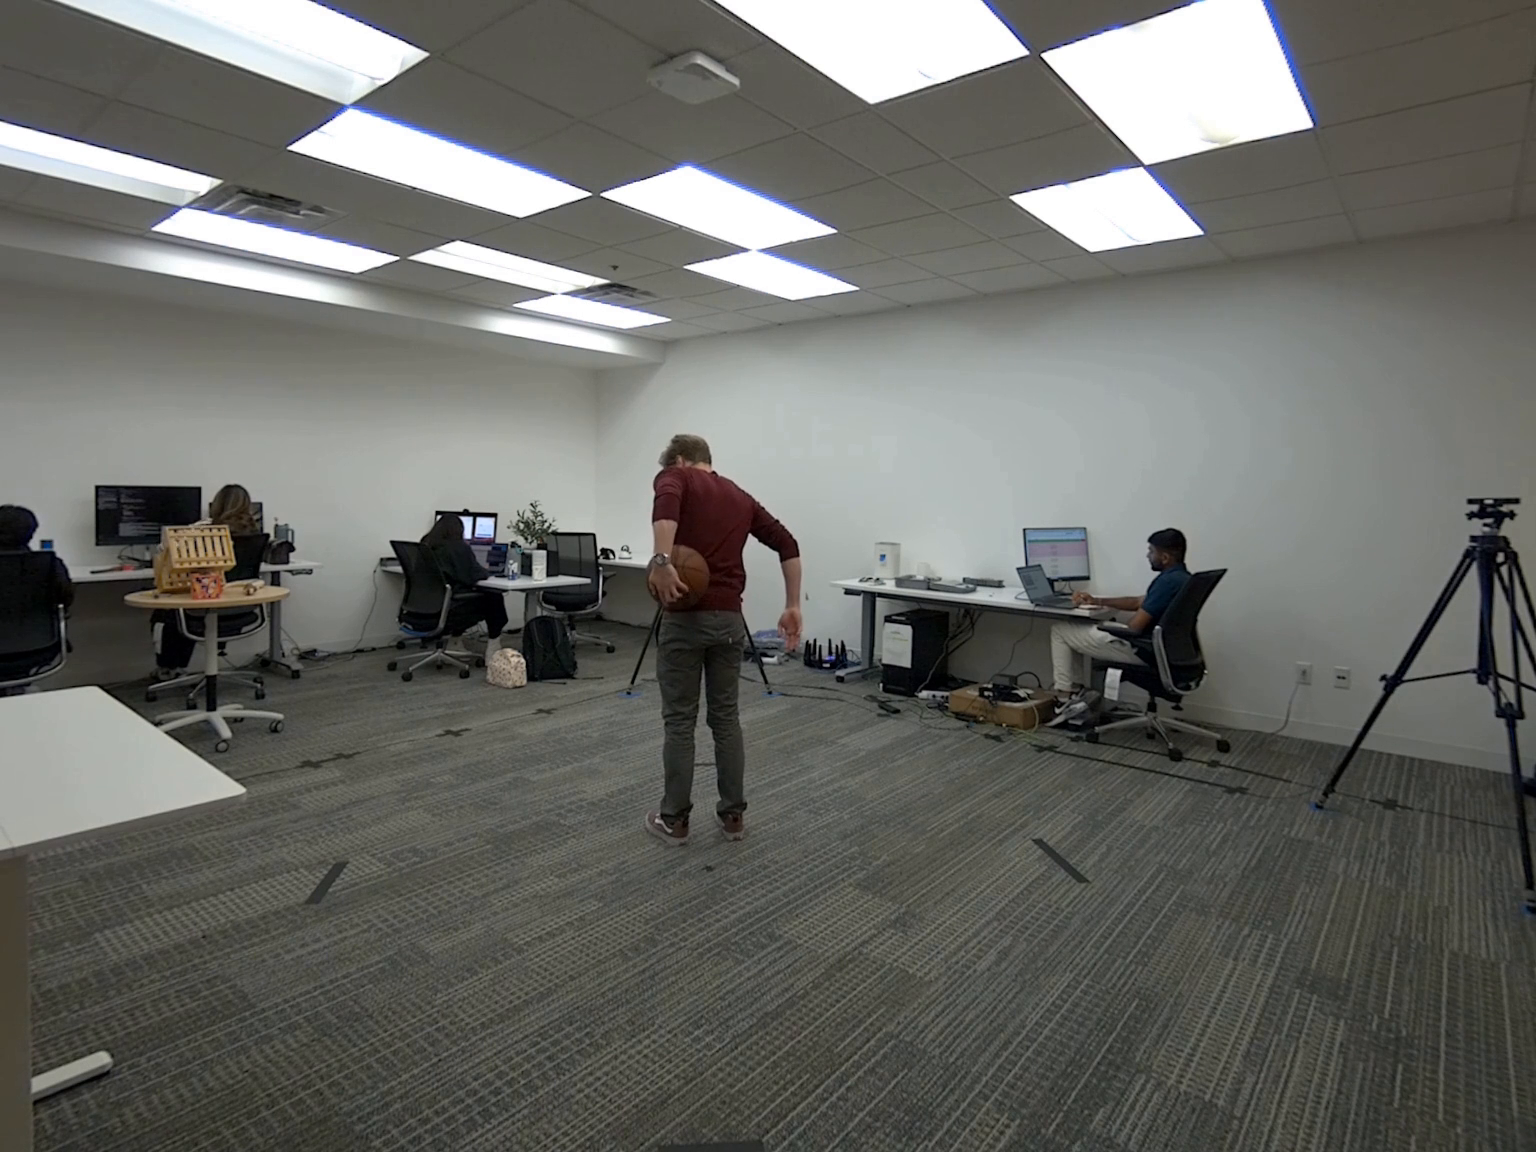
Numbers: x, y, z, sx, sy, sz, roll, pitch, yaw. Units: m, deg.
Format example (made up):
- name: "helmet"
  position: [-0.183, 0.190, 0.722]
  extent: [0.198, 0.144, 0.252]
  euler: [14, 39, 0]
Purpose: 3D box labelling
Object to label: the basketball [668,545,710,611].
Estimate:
- name: "basketball"
  position: [-0.350, -0.002, 3.160]
  extent: [0.235, 0.235, 0.237]
  euler: [1, 4, -2]
